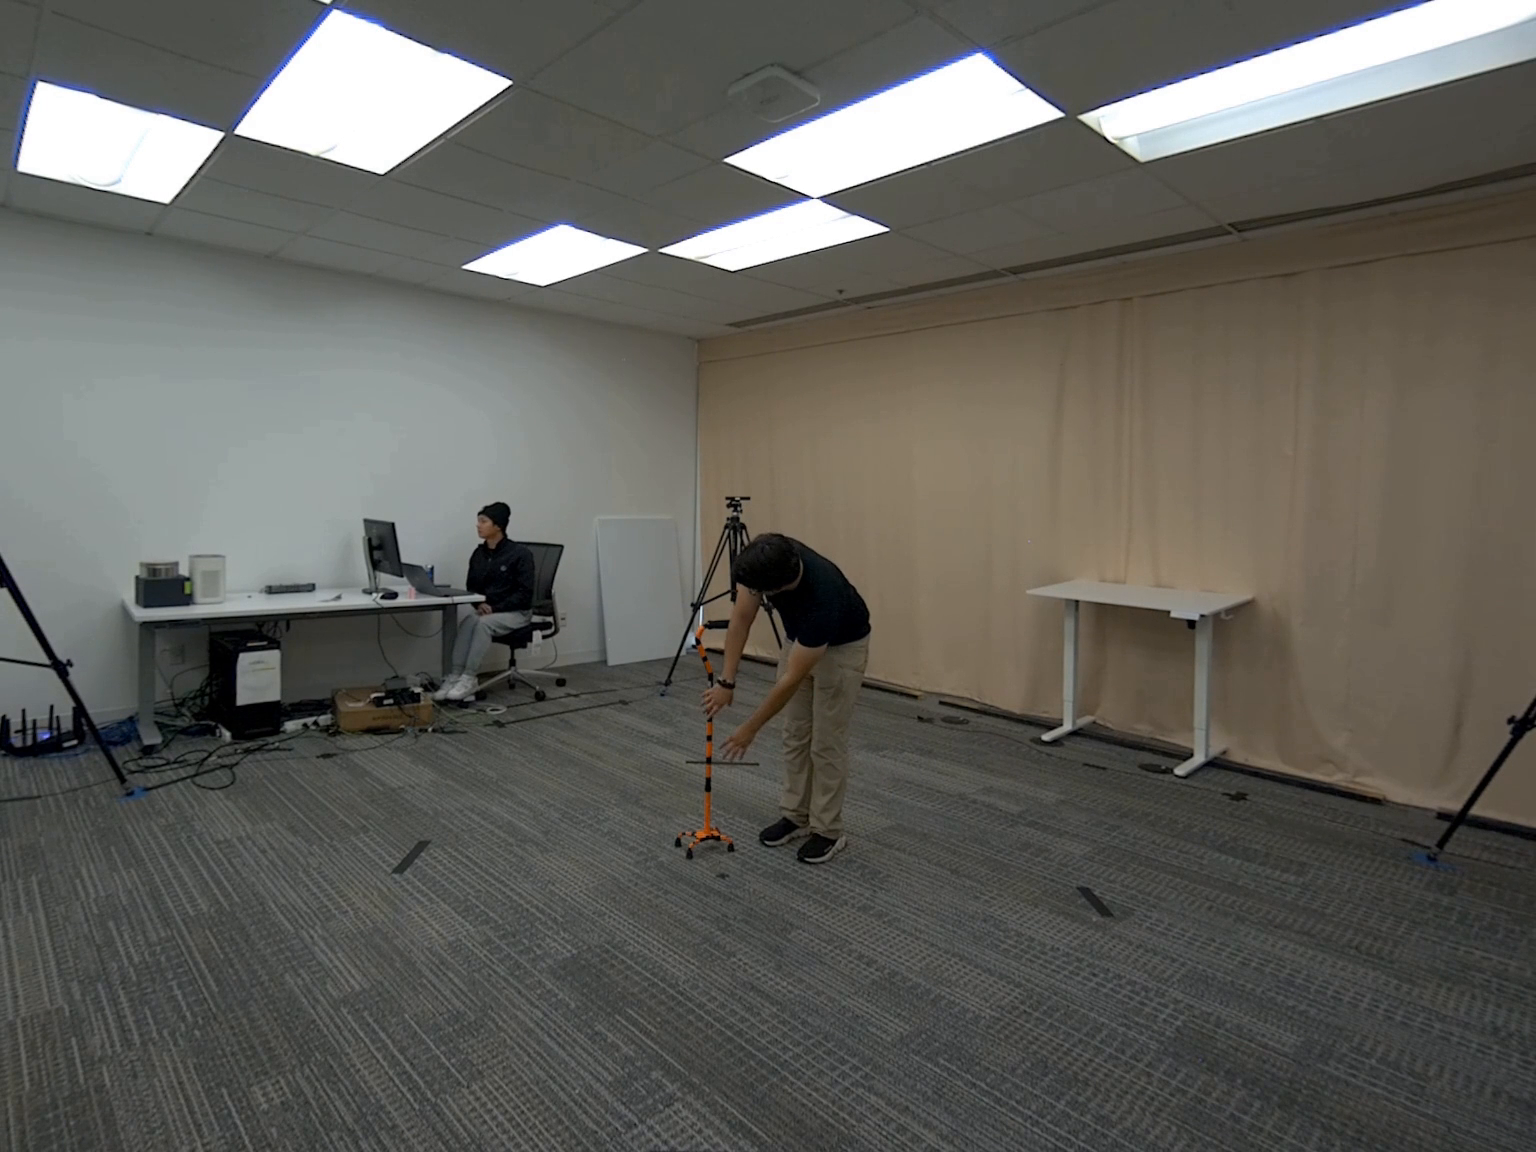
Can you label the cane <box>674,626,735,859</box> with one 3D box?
[{"bbox_3d":[-0.241,0.637,3.324,0.203,0.906,0.154,2,3,-24],"label":"cane"}]
